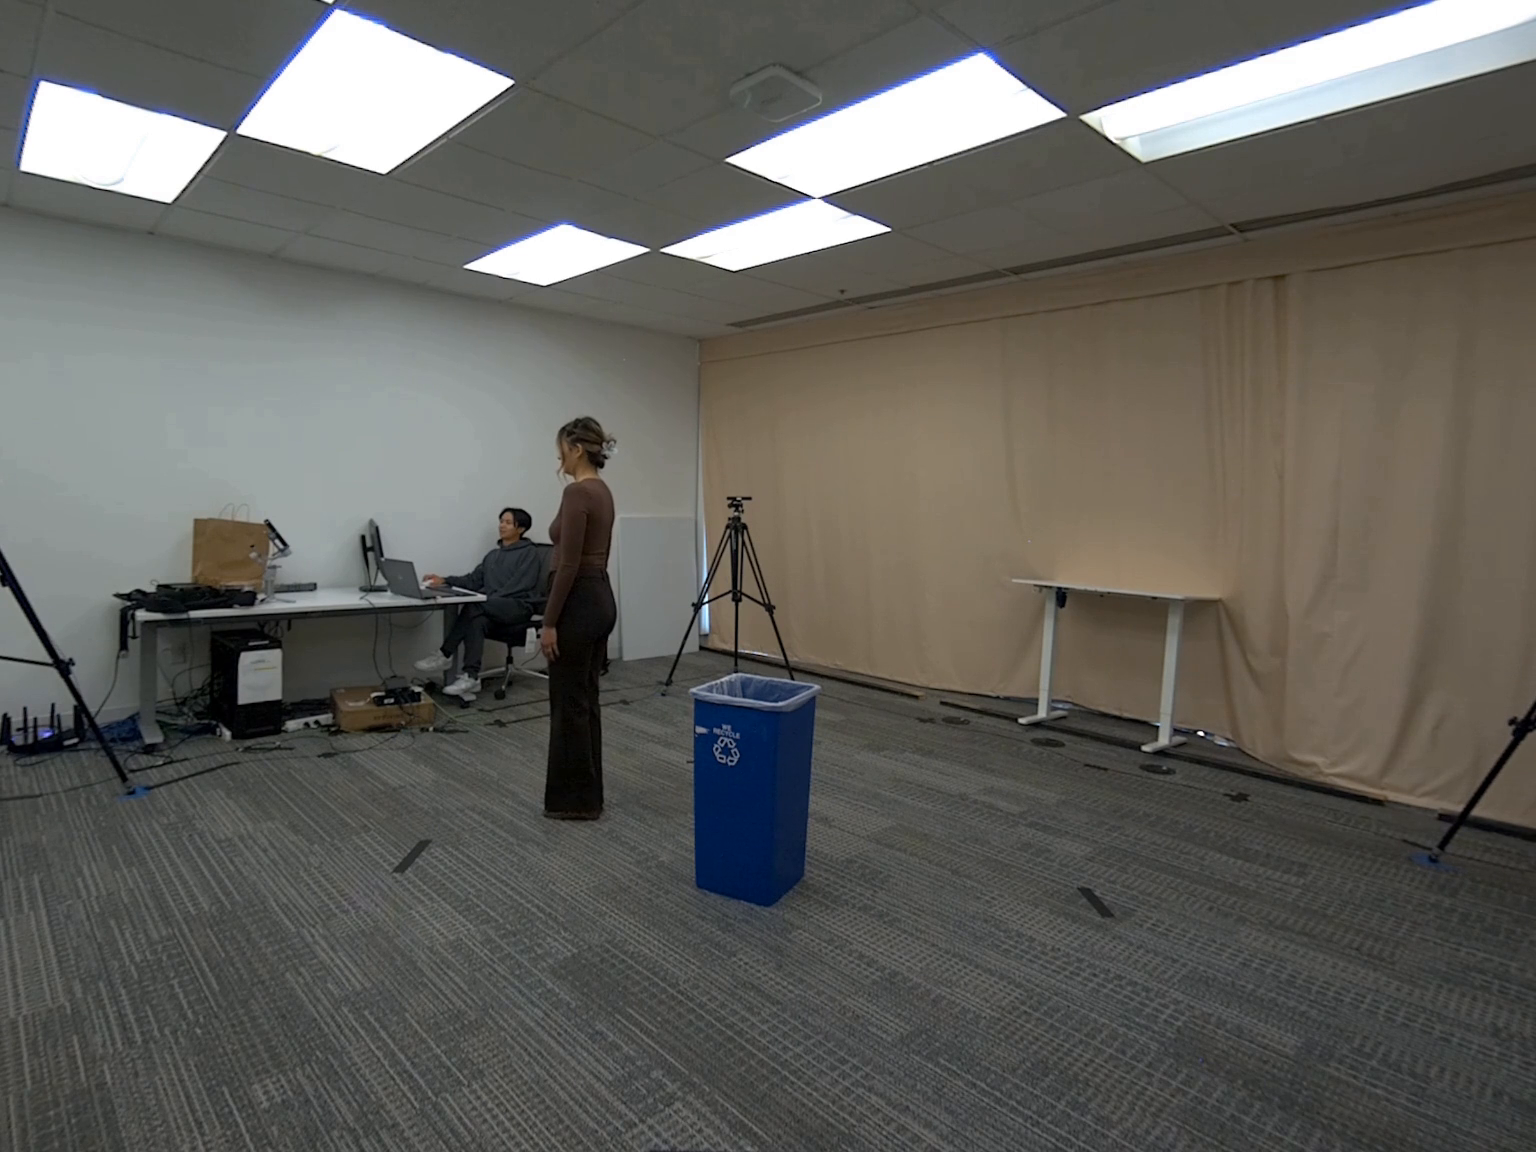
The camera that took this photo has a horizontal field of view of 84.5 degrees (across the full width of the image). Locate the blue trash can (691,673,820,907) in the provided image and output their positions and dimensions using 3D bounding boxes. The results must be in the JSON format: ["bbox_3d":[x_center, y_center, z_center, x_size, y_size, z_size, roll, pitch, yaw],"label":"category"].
[{"bbox_3d":[-0.061,0.753,3.049,0.386,0.711,0.367,3,5,27],"label":"blue trash can"}]
